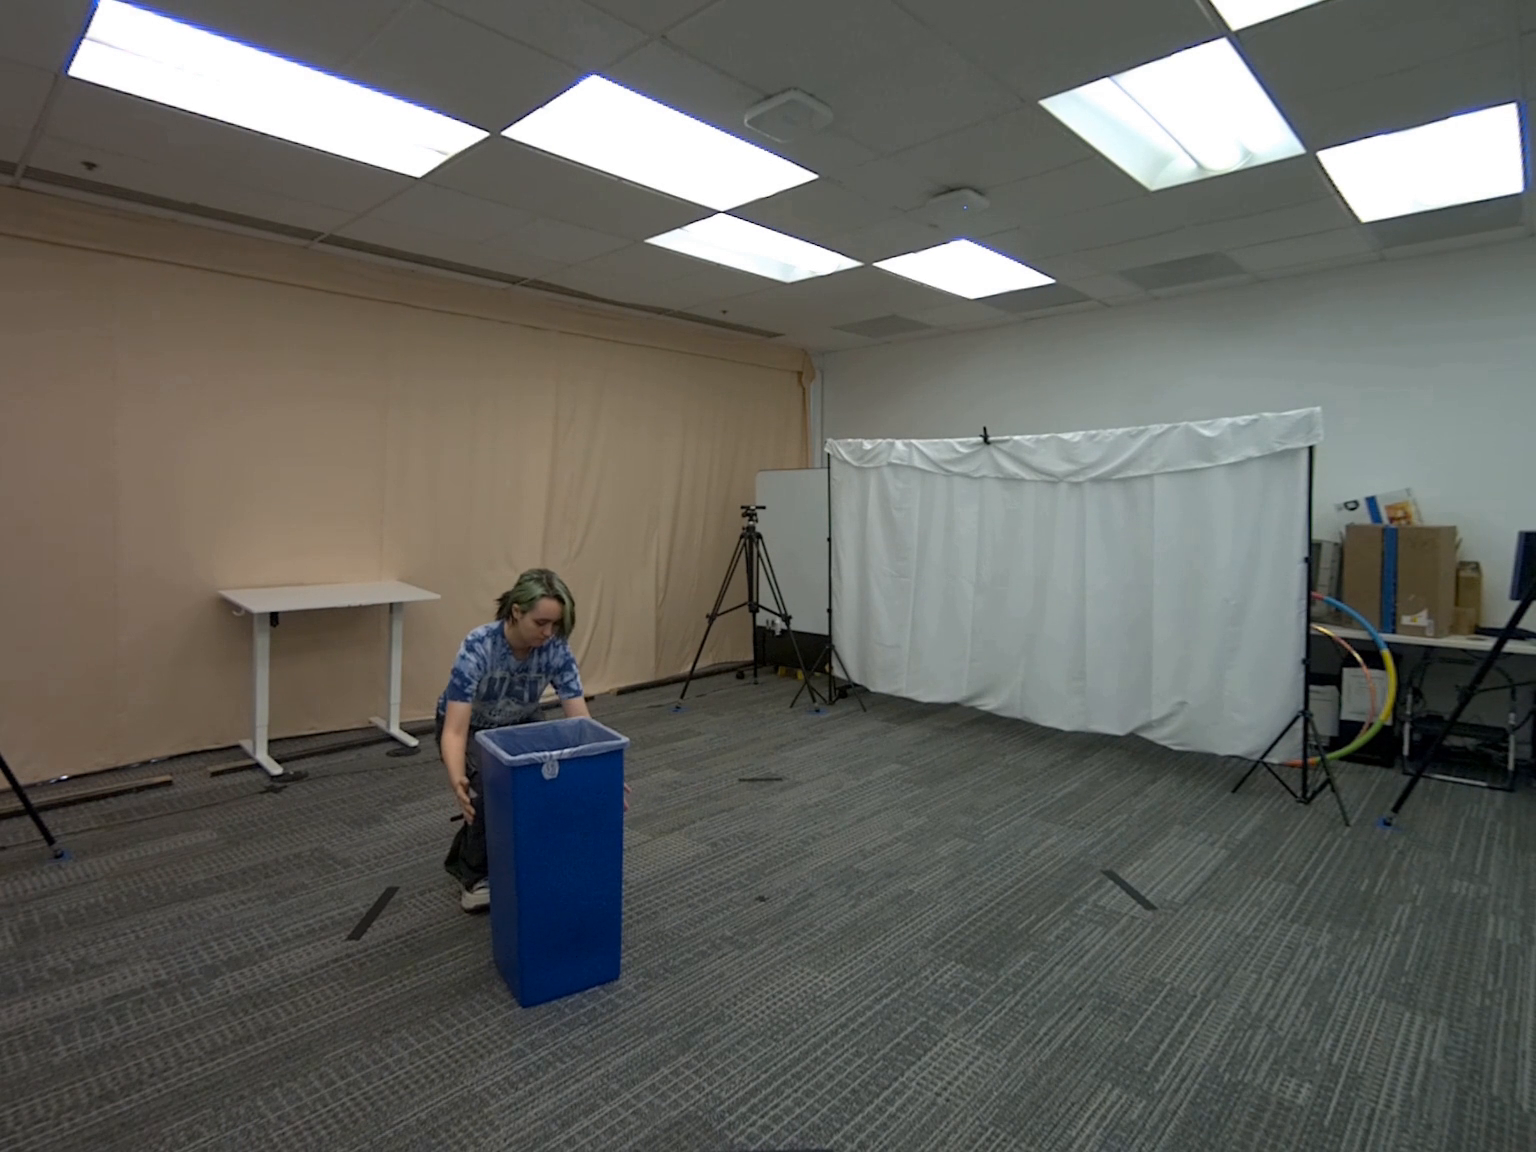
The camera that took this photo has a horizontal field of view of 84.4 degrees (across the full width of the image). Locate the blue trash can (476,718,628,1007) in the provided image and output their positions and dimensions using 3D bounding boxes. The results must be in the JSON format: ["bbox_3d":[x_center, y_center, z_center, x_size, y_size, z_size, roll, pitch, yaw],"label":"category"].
[{"bbox_3d":[-0.648,0.833,2.520,0.367,0.712,0.385,-2,3,-33],"label":"blue trash can"}]
